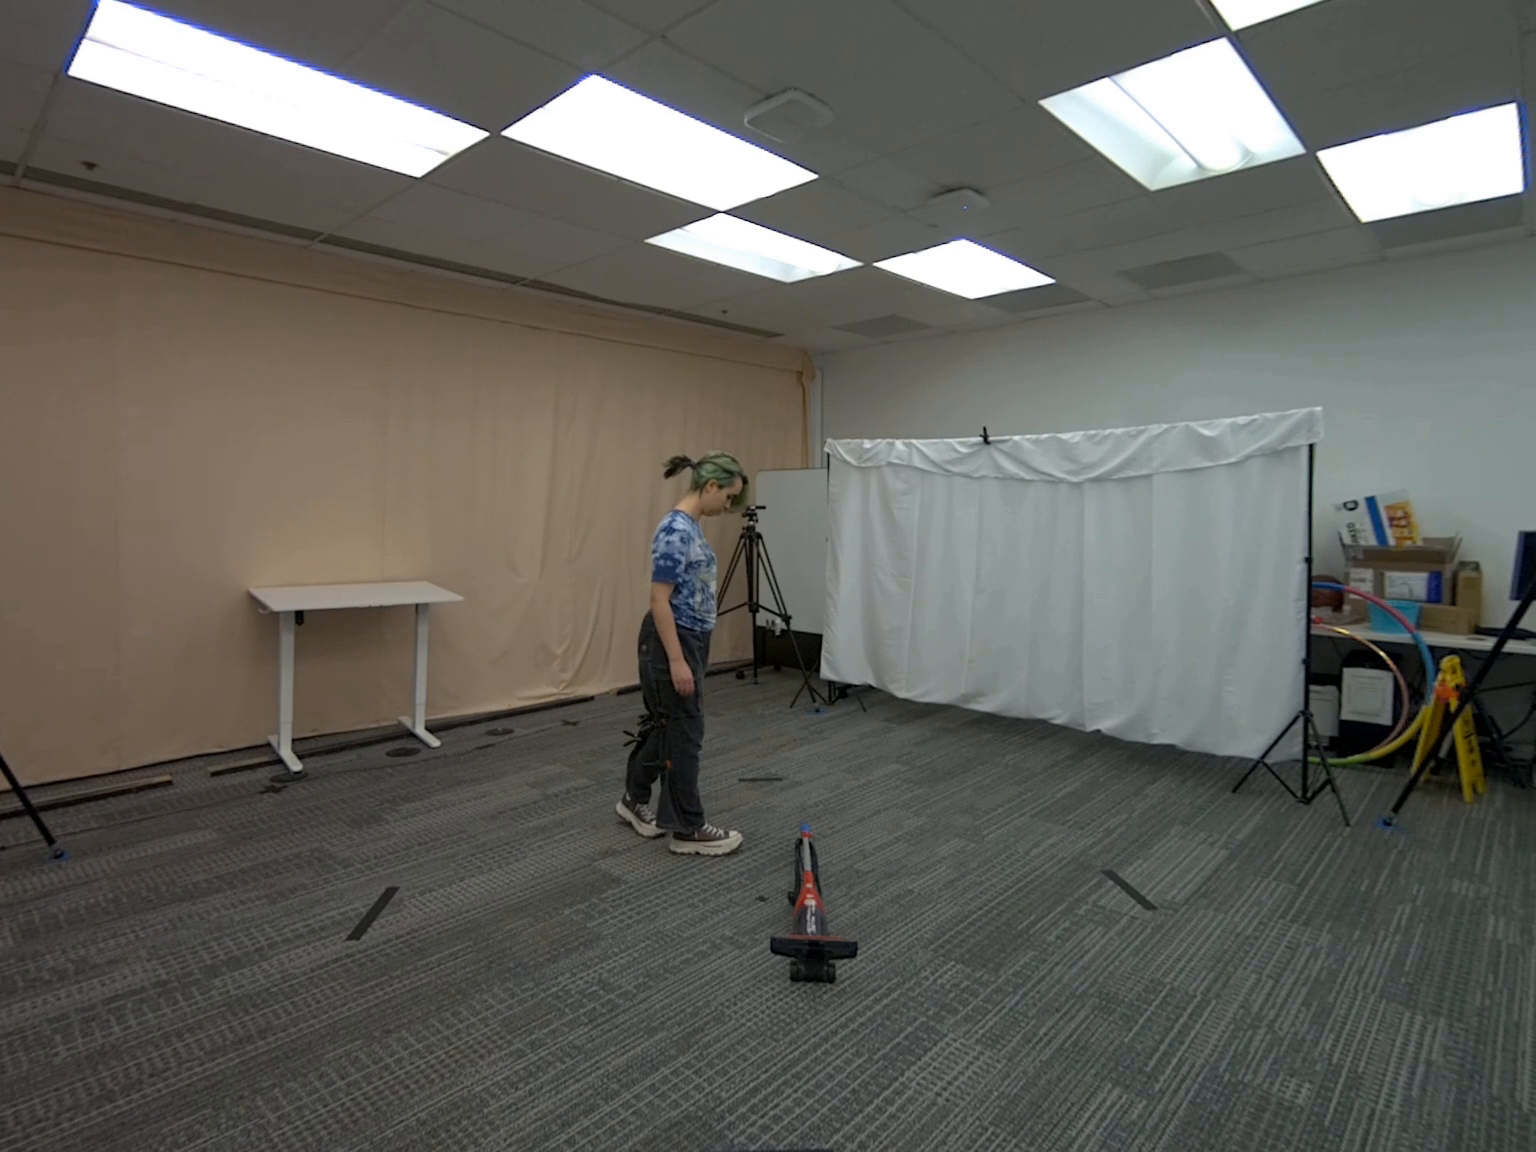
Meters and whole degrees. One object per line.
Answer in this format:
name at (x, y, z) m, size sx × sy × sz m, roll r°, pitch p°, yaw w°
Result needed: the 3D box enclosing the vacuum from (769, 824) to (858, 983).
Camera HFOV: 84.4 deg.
vacuum at (0.137, 1.080, 2.957) m, size 0.253 × 0.144 × 1.048 m, roll 0°, pitch 3°, yaw 0°
